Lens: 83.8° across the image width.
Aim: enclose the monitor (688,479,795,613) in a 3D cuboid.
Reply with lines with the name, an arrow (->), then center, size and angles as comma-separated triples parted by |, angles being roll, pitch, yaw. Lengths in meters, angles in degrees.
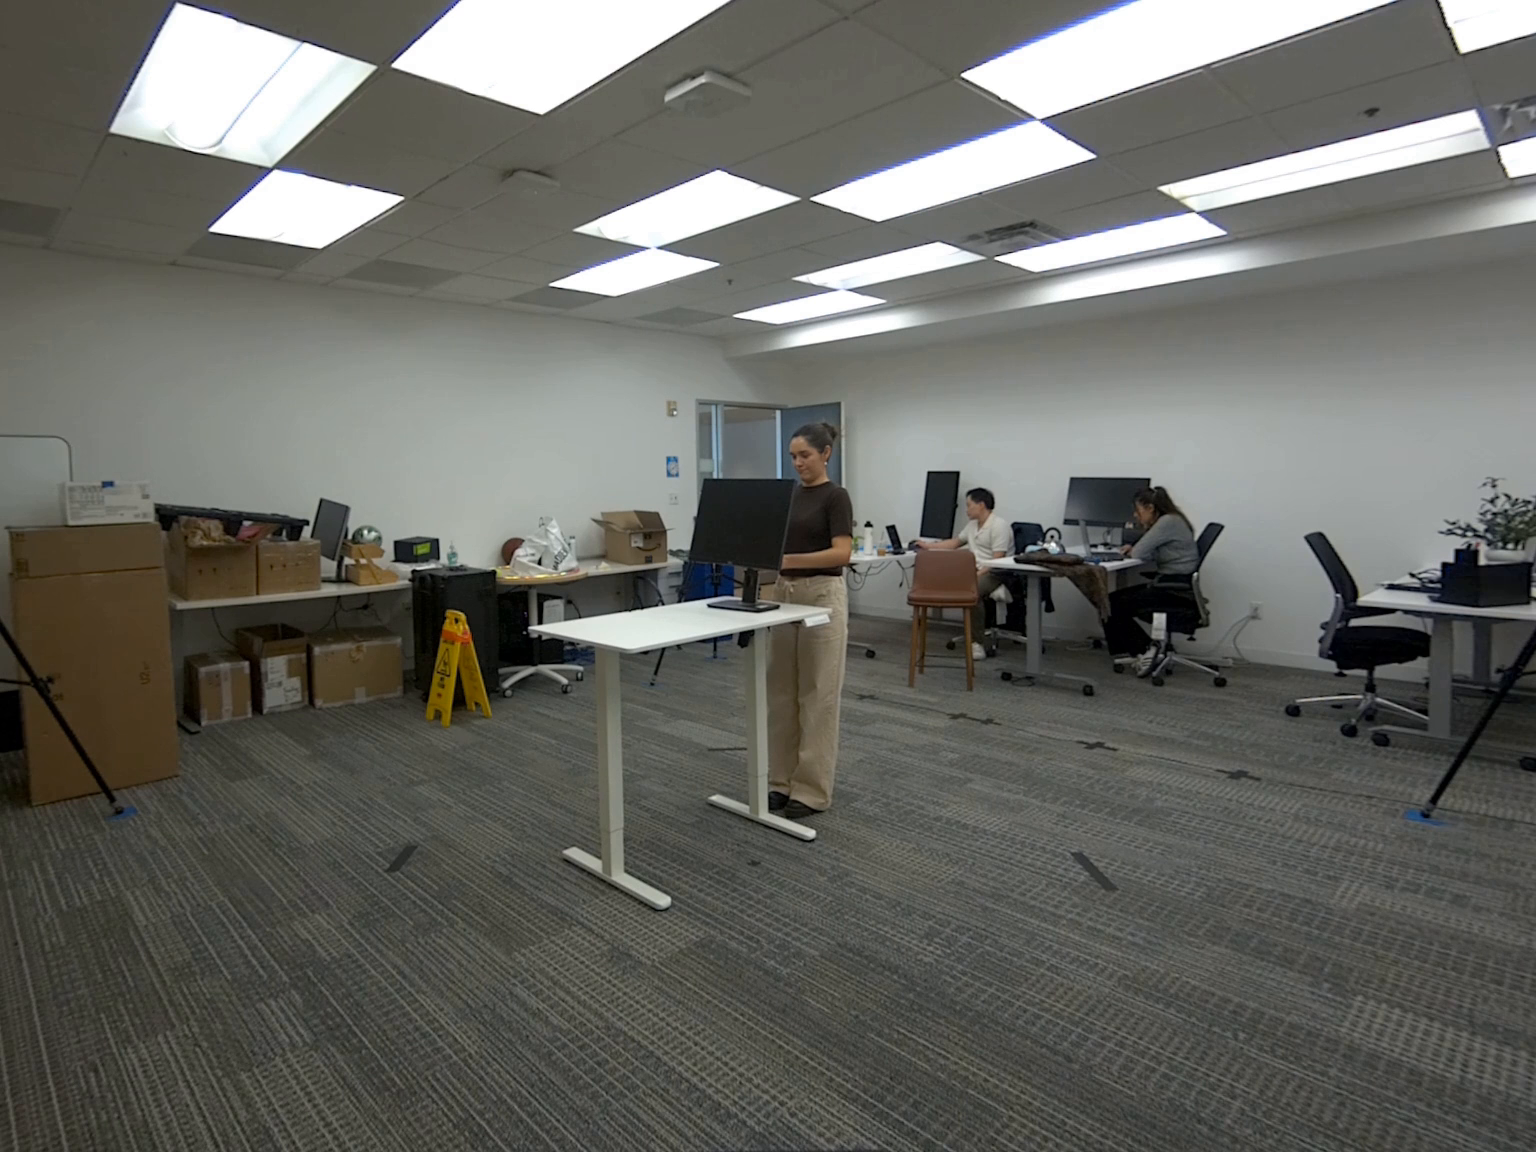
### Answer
monitor -> -0.095, -0.125, 3.403 | 0.182, 0.521, 0.556 | -1, 5, -45
